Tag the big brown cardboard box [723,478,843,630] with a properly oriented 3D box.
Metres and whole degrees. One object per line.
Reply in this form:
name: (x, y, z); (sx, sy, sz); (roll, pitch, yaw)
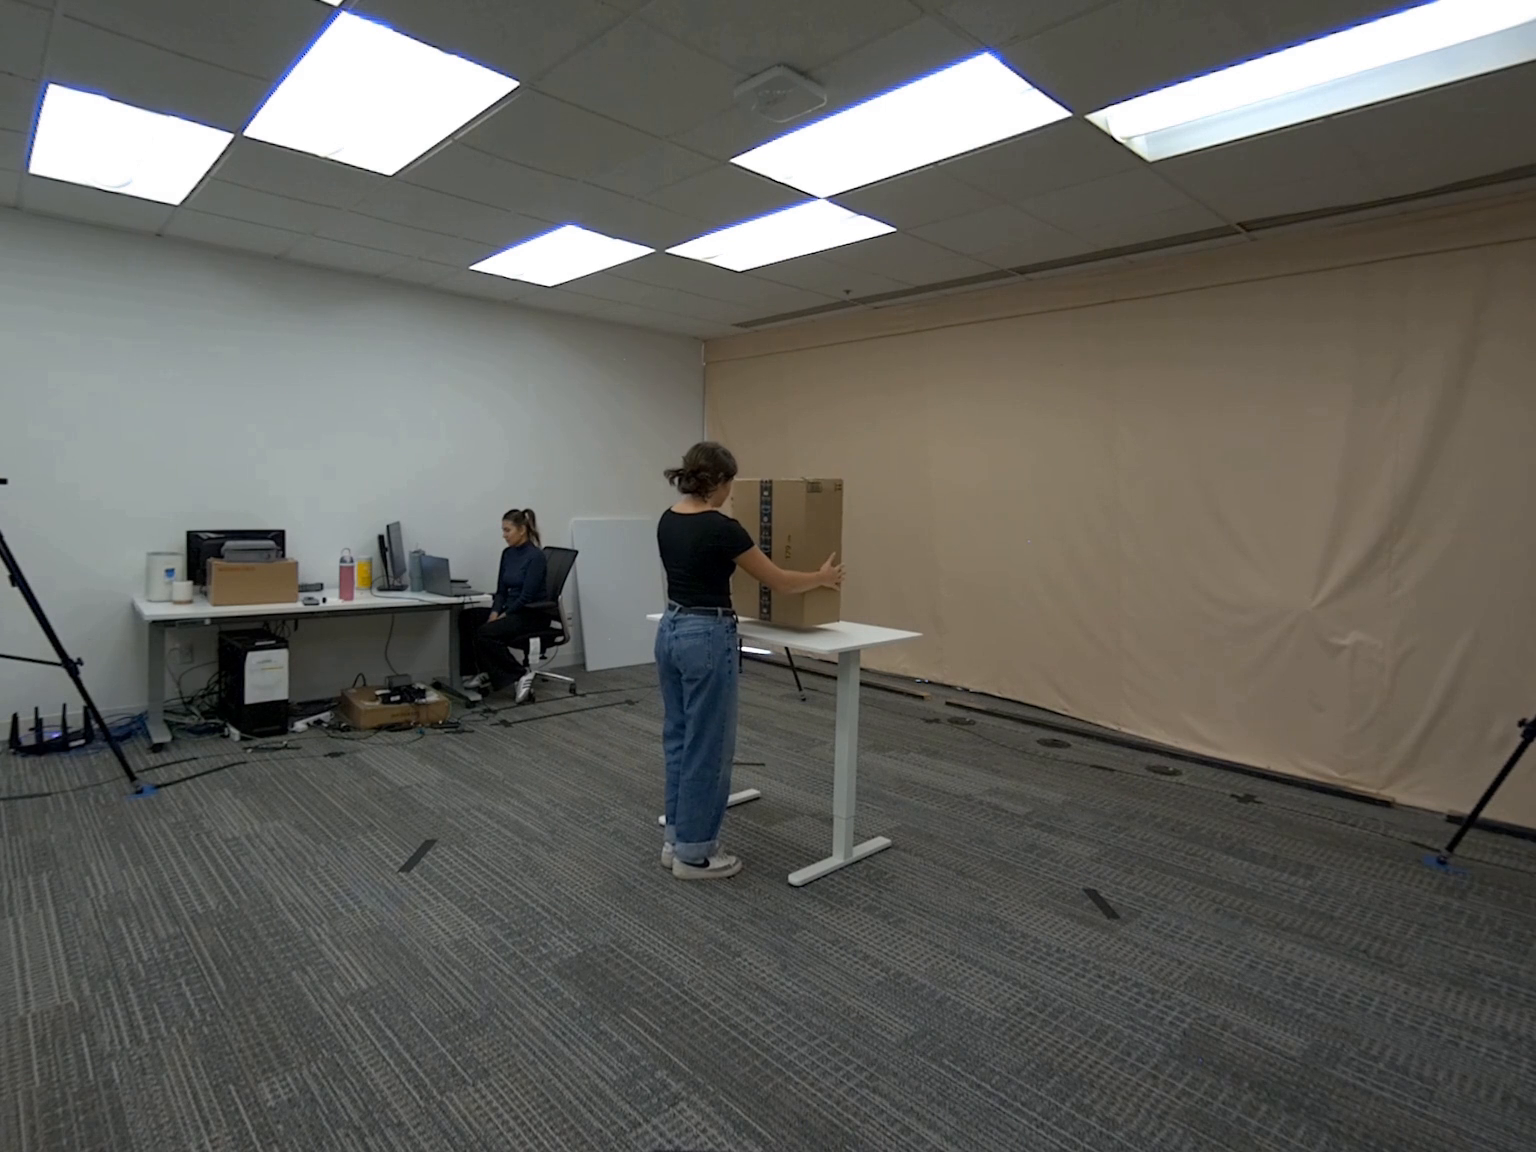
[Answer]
big brown cardboard box: (0.063, -0.115, 3.385); (0.228, 0.587, 0.428); (-3, 6, -43)
